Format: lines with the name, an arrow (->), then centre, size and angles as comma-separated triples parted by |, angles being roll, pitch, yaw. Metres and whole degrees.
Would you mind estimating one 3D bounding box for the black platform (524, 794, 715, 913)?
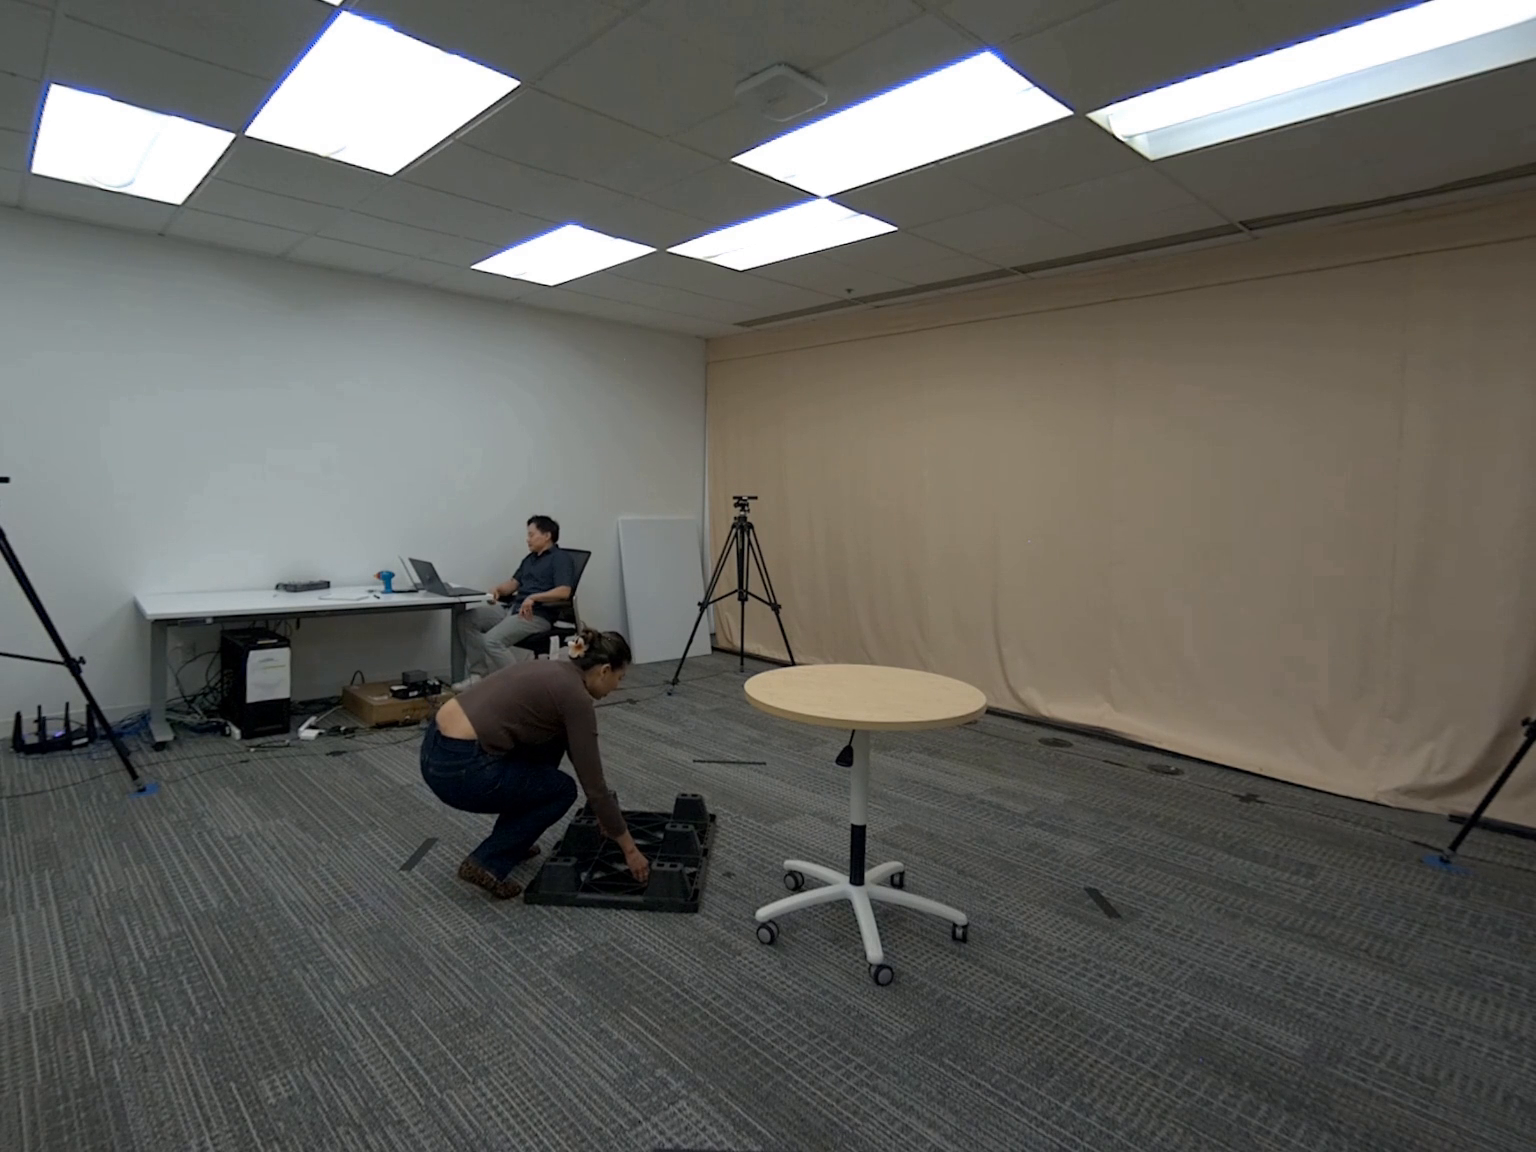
black platform -> -0.531, 1.015, 3.222 | 0.606, 0.143, 0.807 | 2, 5, 1
